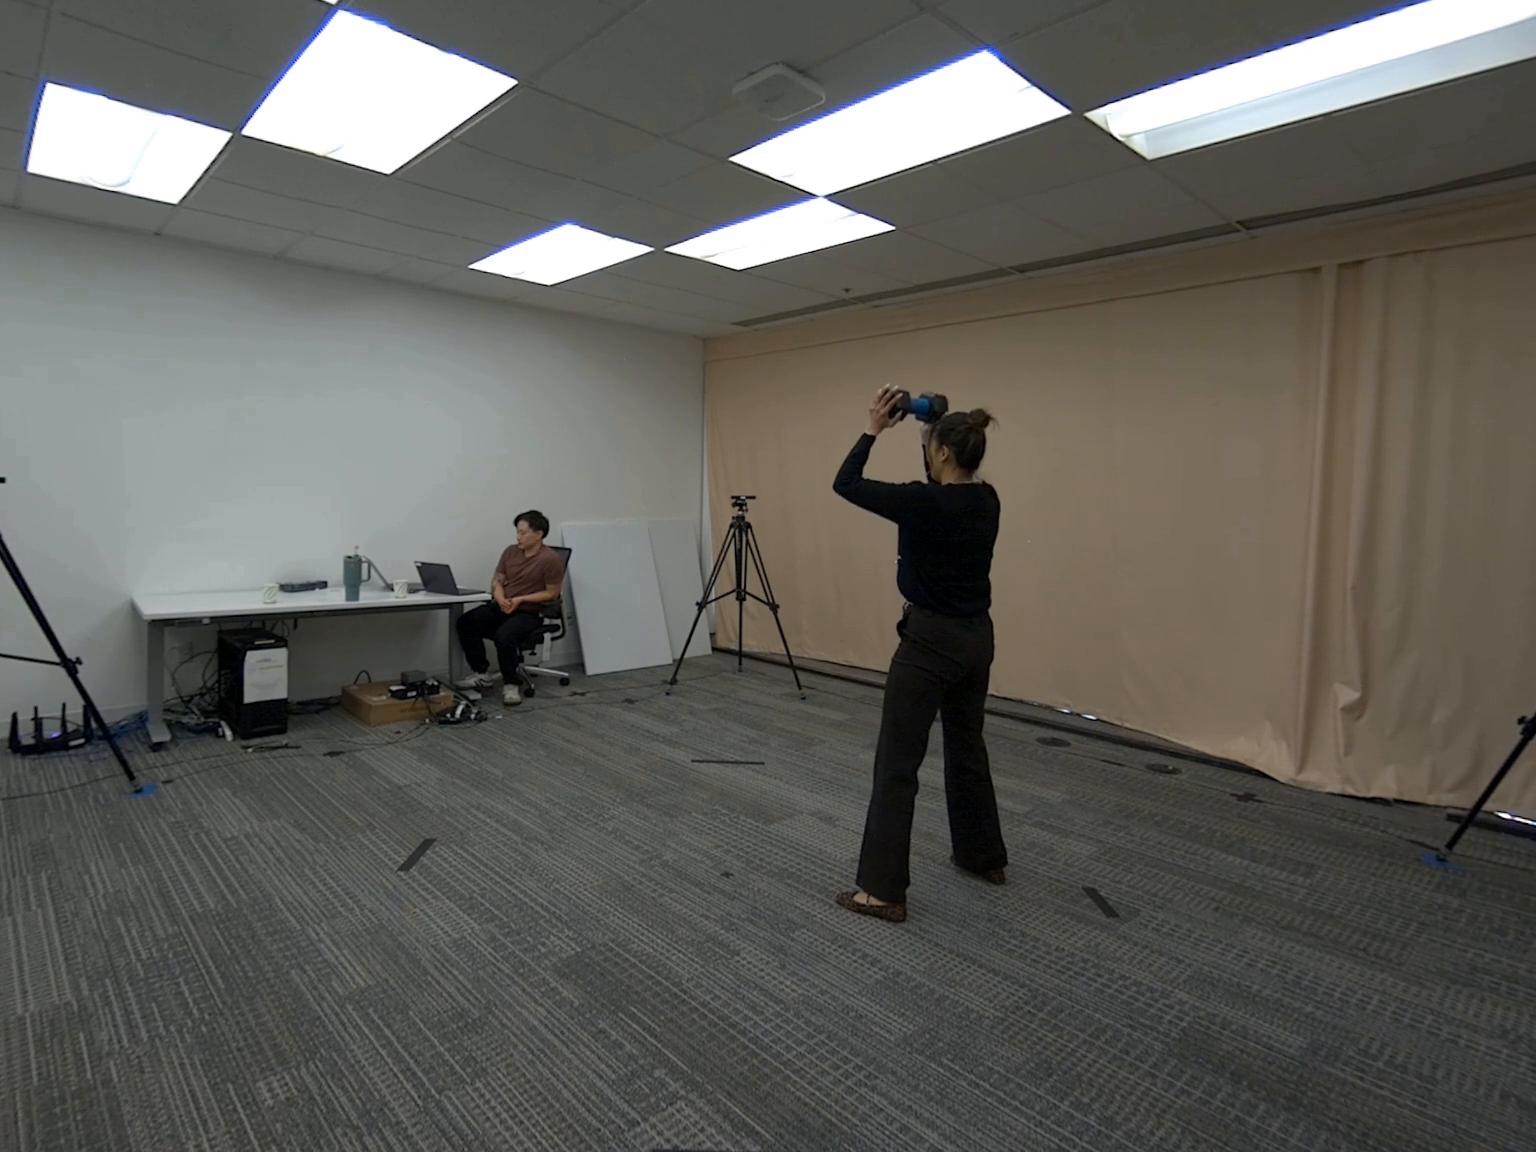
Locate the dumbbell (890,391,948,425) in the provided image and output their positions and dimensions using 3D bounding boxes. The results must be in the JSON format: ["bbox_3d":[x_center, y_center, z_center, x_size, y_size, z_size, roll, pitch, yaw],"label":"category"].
[{"bbox_3d":[0.520,-0.602,3.026,0.287,0.111,0.122,-5,-35,-39],"label":"dumbbell"}]
